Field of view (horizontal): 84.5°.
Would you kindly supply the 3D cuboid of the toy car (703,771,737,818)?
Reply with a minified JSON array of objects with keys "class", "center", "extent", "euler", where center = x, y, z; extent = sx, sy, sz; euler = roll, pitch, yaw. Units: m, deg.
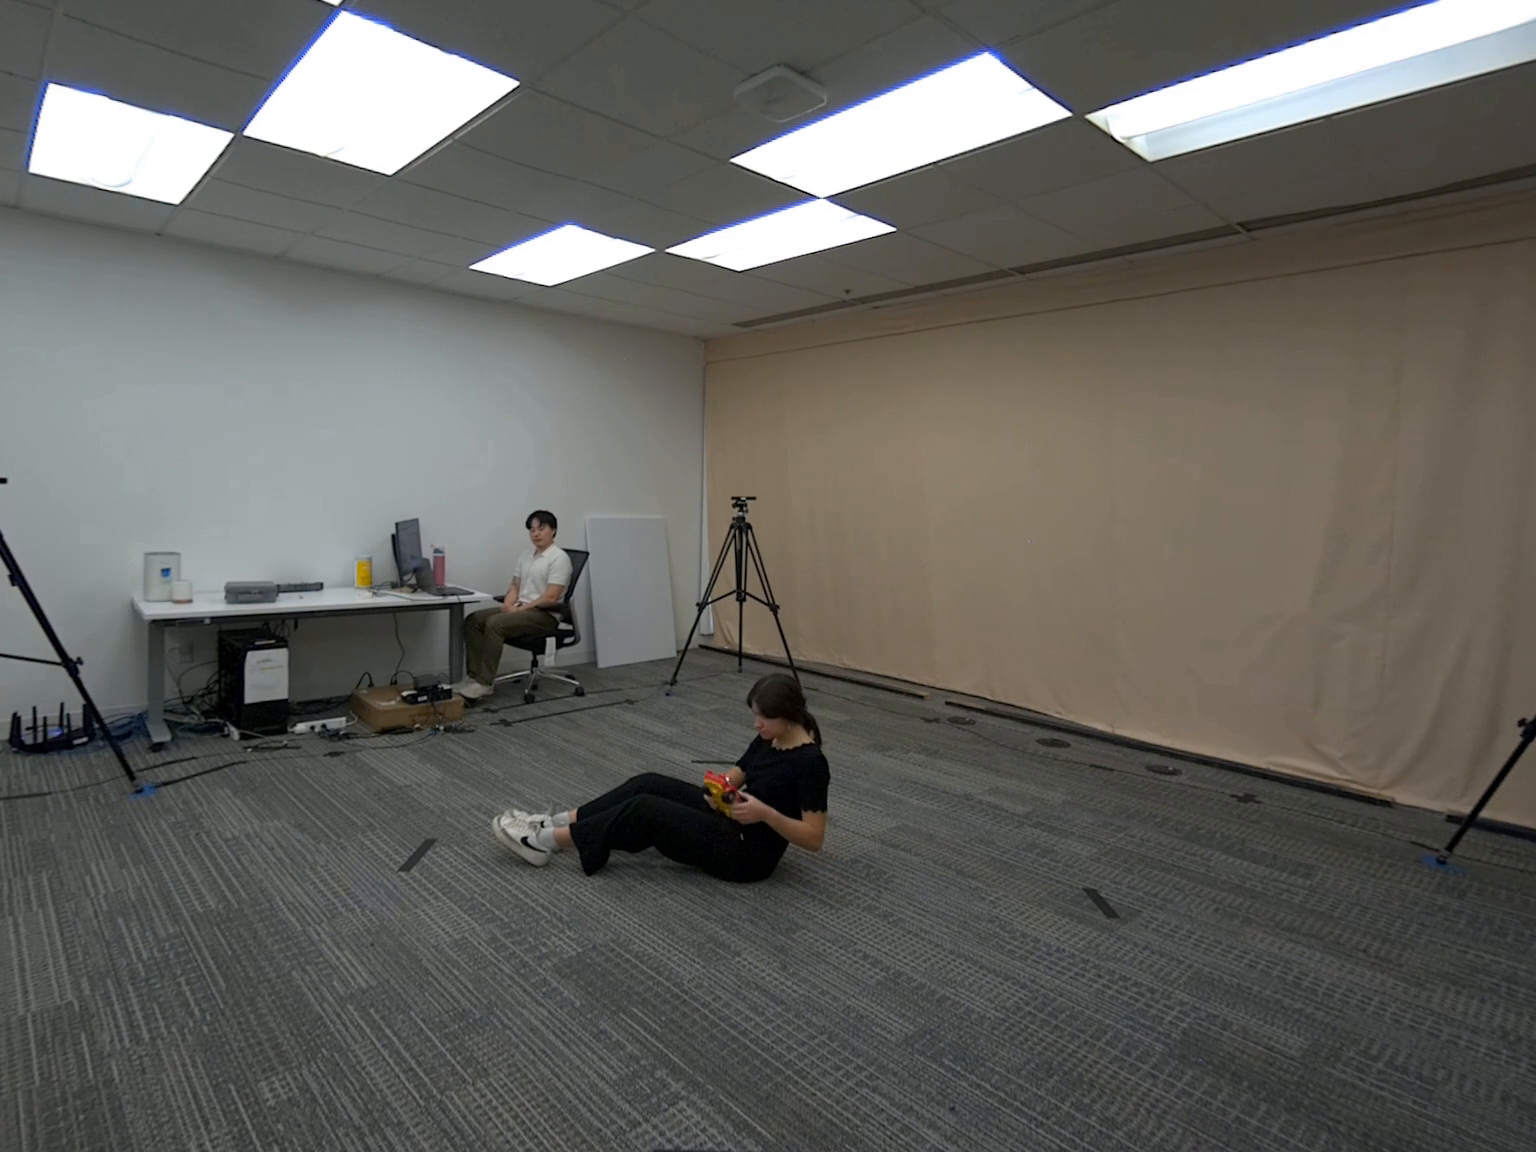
[{"class":"toy car","center":[-0.155,0.784,2.942],"extent":[0.134,0.248,0.083],"euler":[10,38,39]}]
